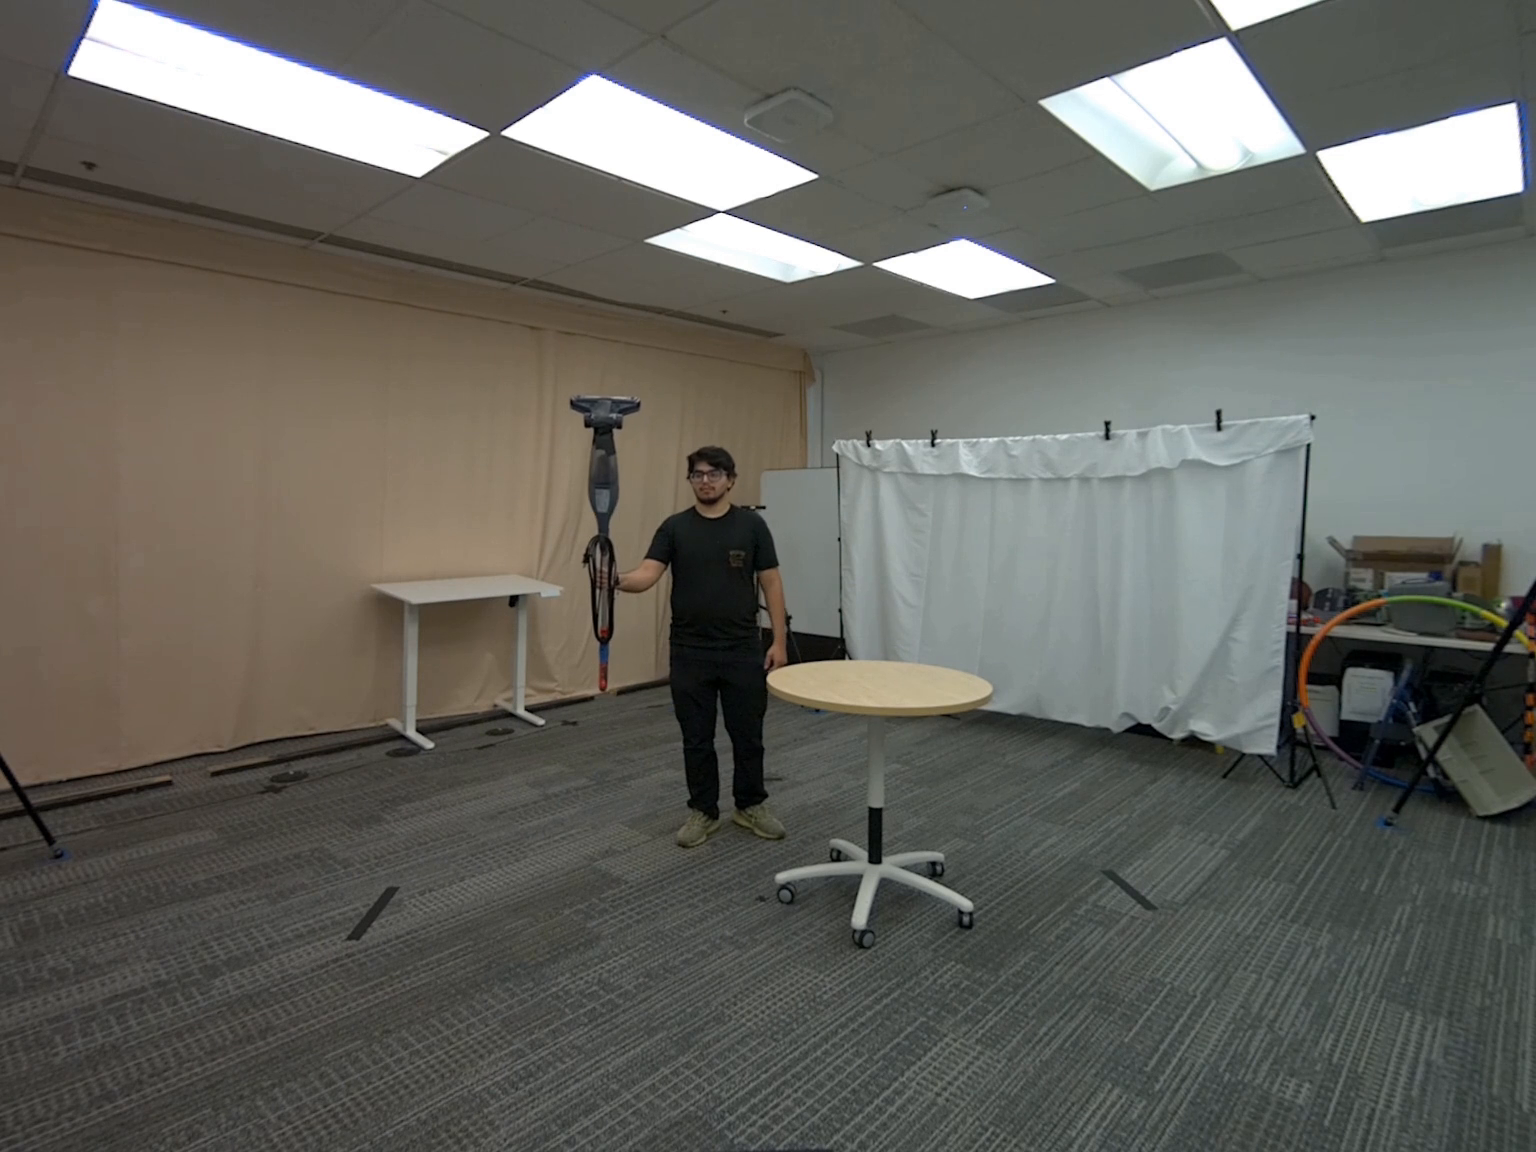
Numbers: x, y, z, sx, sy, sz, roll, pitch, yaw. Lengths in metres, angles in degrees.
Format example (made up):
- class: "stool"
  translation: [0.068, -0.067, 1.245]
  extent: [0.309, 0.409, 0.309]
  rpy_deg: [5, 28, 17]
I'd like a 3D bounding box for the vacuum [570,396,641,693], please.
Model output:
- class: "vacuum"
  translation: [-0.604, -0.089, 3.086]
  extent: [0.253, 1.041, 0.145]
  rpy_deg: [2, 12, 1]
